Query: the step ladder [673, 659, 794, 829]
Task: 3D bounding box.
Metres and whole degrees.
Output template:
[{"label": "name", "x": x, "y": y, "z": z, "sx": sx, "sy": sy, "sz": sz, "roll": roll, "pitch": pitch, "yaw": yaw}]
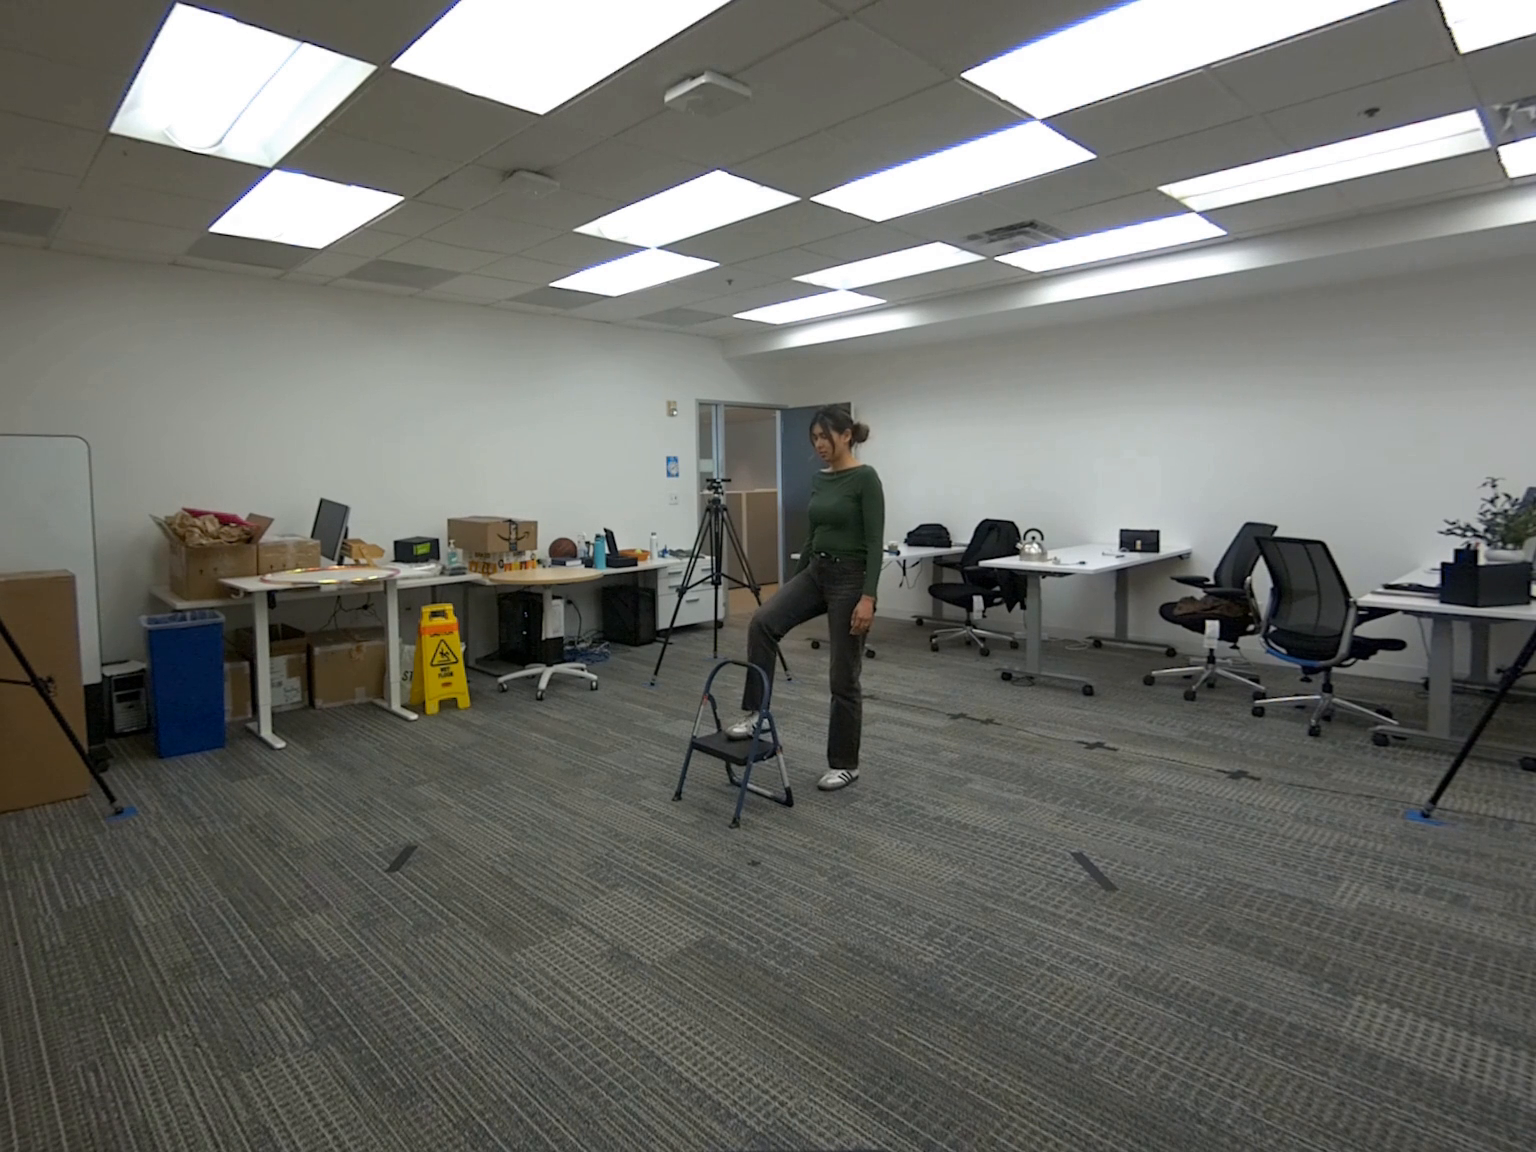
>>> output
[{"label": "step ladder", "x": -0.157, "y": 0.680, "z": 3.670, "sx": 0.340, "sy": 0.604, "sz": 0.444, "roll": -4, "pitch": 5, "yaw": -41}]
